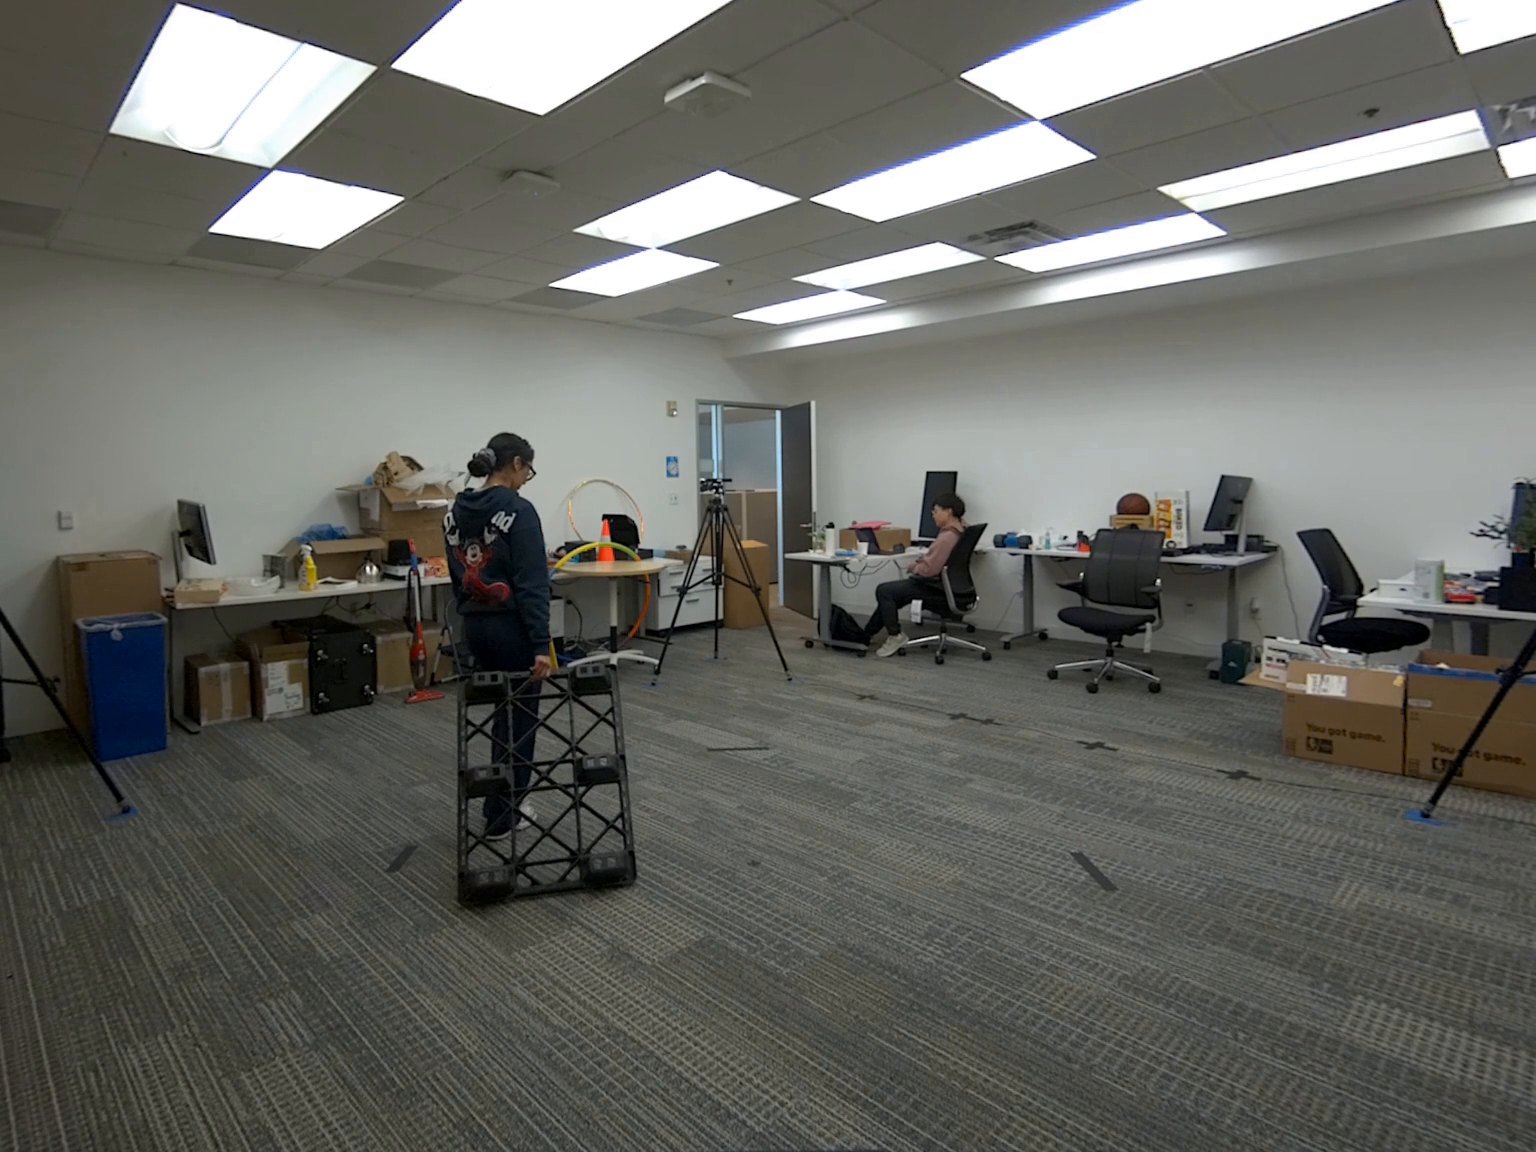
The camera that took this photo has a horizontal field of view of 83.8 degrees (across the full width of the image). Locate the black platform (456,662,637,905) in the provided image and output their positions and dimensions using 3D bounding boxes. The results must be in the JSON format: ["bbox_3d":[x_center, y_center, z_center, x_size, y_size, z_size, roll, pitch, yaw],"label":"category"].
[{"bbox_3d":[-0.792,0.697,3.040,0.598,0.827,0.141,-4,-29,-12],"label":"black platform"}]
